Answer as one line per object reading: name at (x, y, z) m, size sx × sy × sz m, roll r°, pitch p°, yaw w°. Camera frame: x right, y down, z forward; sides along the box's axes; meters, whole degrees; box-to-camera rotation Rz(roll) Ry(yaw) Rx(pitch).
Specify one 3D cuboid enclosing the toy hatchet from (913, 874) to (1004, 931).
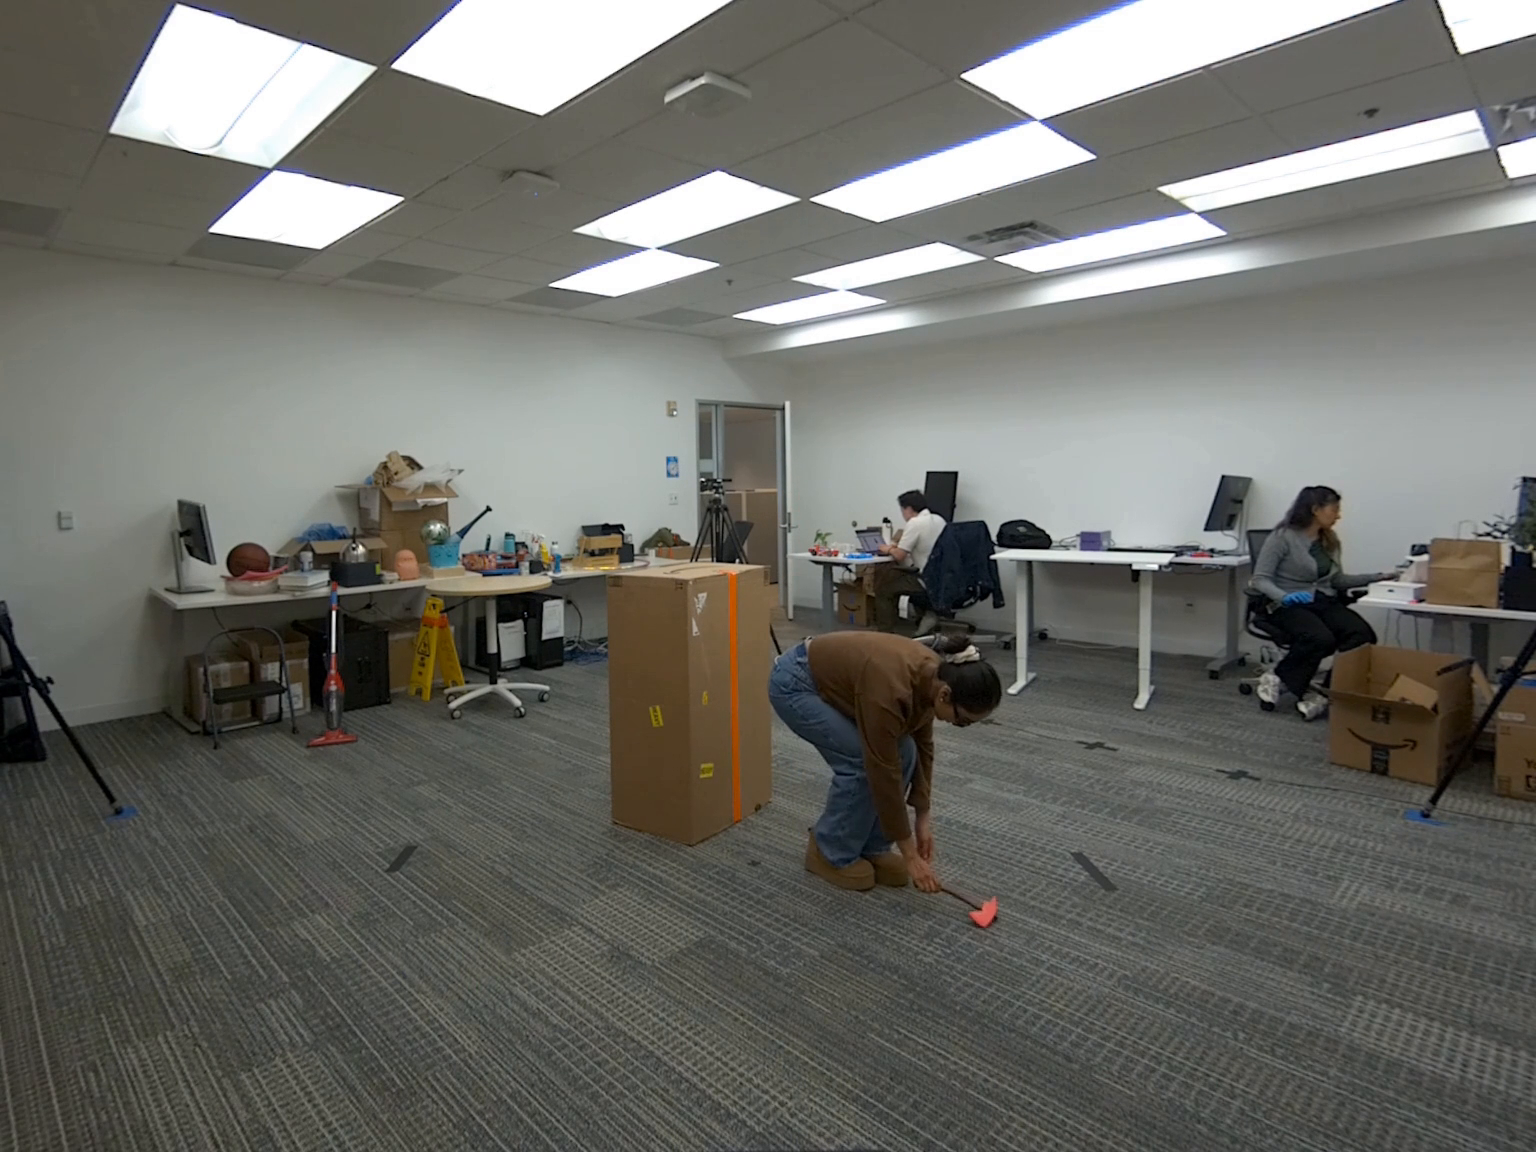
toy hatchet at (0.595, 1.018, 2.702) m, size 0.272 × 0.029 × 0.132 m, roll 11°, pitch 29°, yaw 7°
